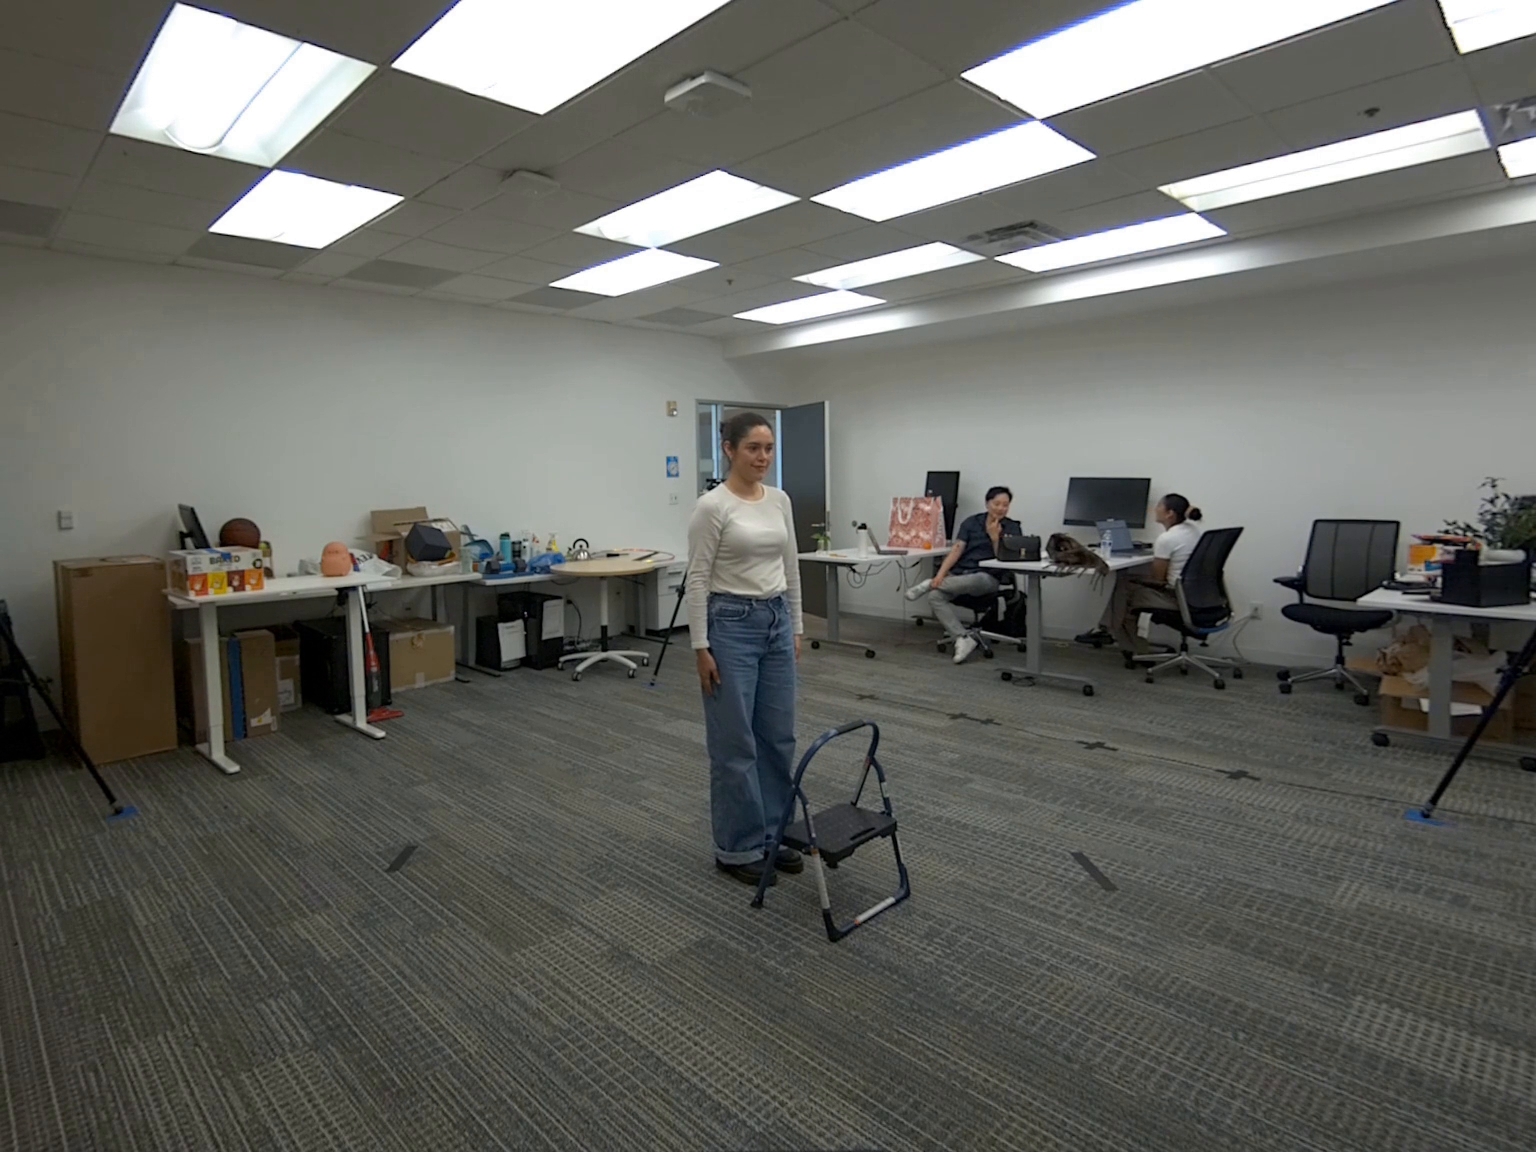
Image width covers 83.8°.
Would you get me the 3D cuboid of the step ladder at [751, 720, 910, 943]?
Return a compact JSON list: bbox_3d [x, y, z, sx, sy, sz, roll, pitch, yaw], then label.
[{"bbox_3d":[0.205,0.768,2.806,0.360,0.604,0.419,3,6,44],"label":"step ladder"}]
